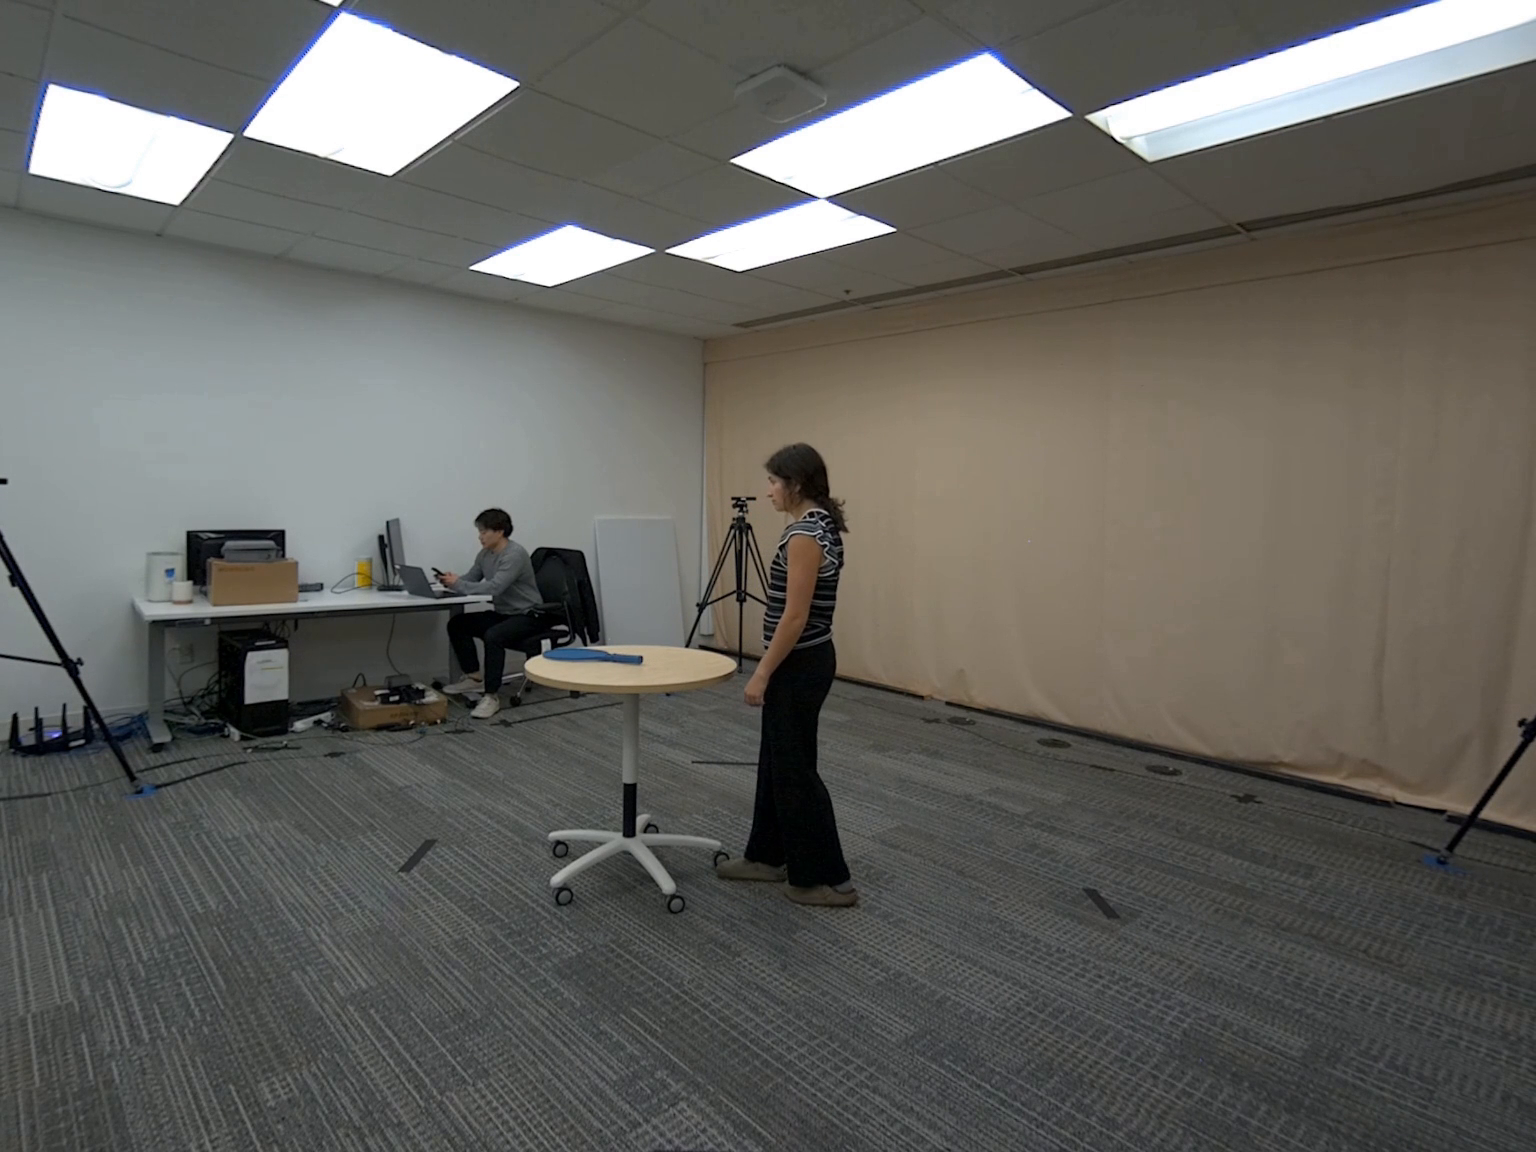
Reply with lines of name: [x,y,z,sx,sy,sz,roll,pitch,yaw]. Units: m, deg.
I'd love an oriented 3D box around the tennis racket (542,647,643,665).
tennis racket: [-0.659,0.300,3.134,0.441,0.031,0.210,1,6,25]
